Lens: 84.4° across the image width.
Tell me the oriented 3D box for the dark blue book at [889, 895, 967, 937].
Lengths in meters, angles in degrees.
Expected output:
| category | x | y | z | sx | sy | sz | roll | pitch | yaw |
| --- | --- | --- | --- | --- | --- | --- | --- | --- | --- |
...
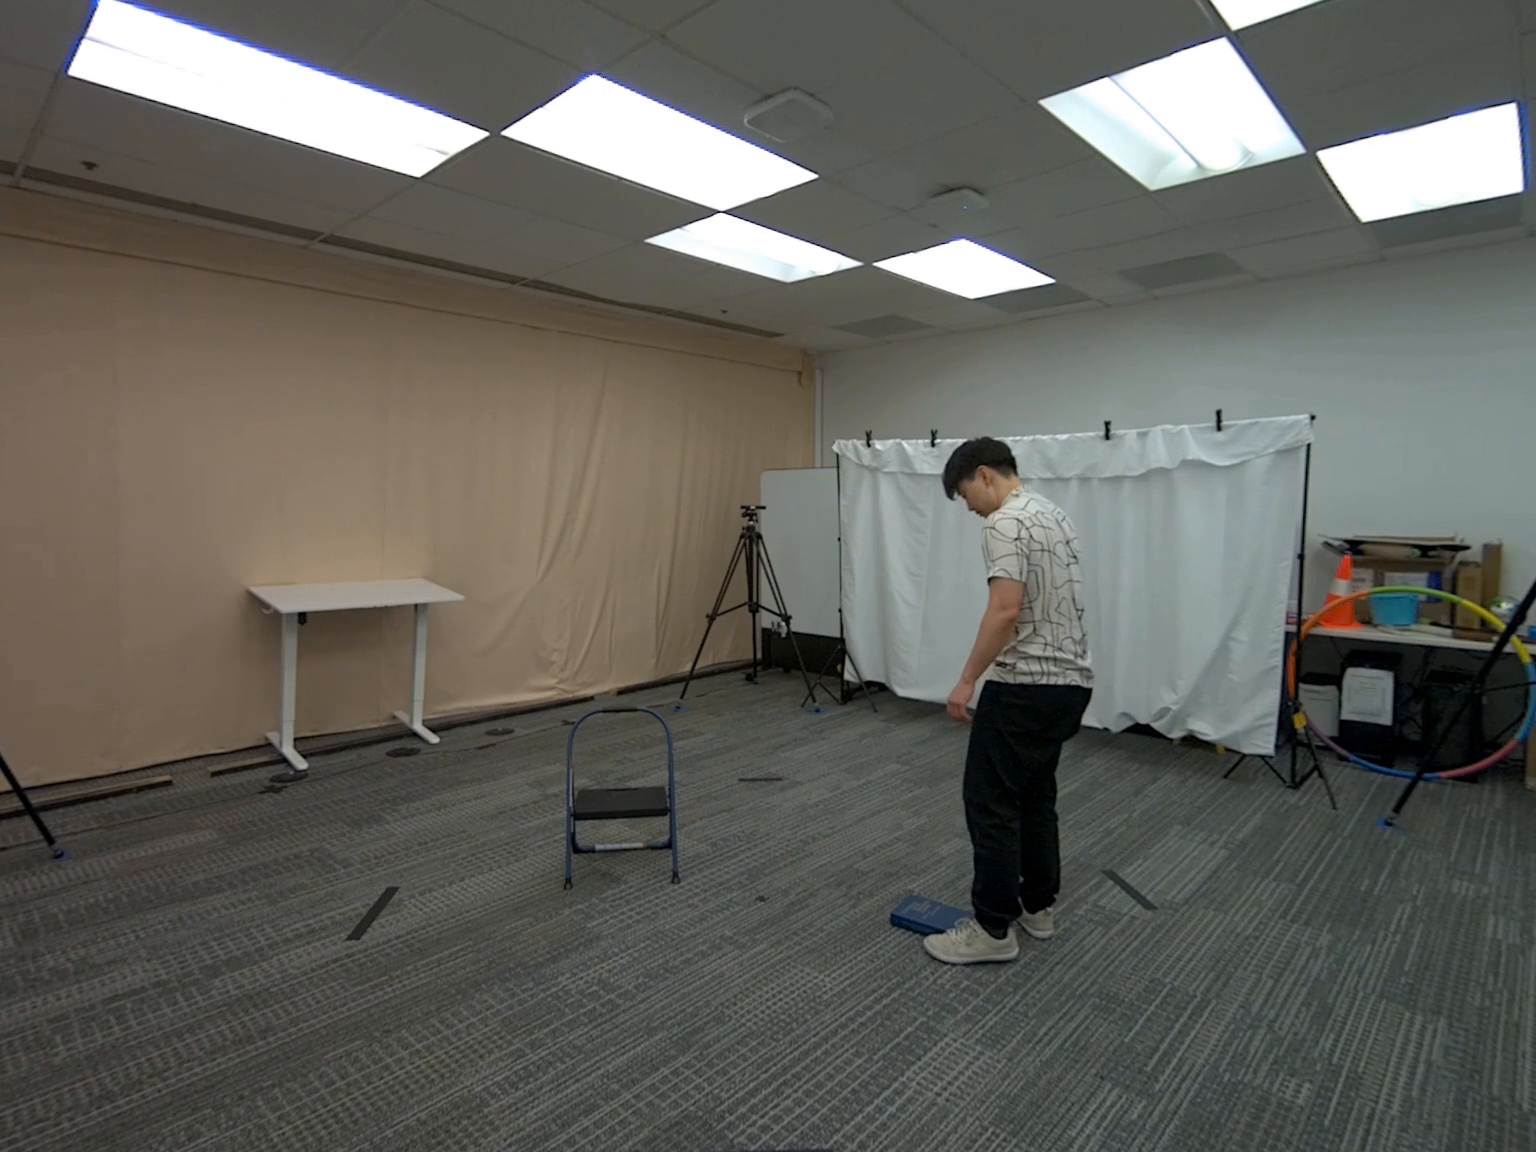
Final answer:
| category | x | y | z | sx | sy | sz | roll | pitch | yaw |
| --- | --- | --- | --- | --- | --- | --- | --- | --- | --- |
| dark blue book | 0.558 | 1.135 | 2.782 | 0.253 | 0.045 | 0.159 | 3 | 6 | 35 |
